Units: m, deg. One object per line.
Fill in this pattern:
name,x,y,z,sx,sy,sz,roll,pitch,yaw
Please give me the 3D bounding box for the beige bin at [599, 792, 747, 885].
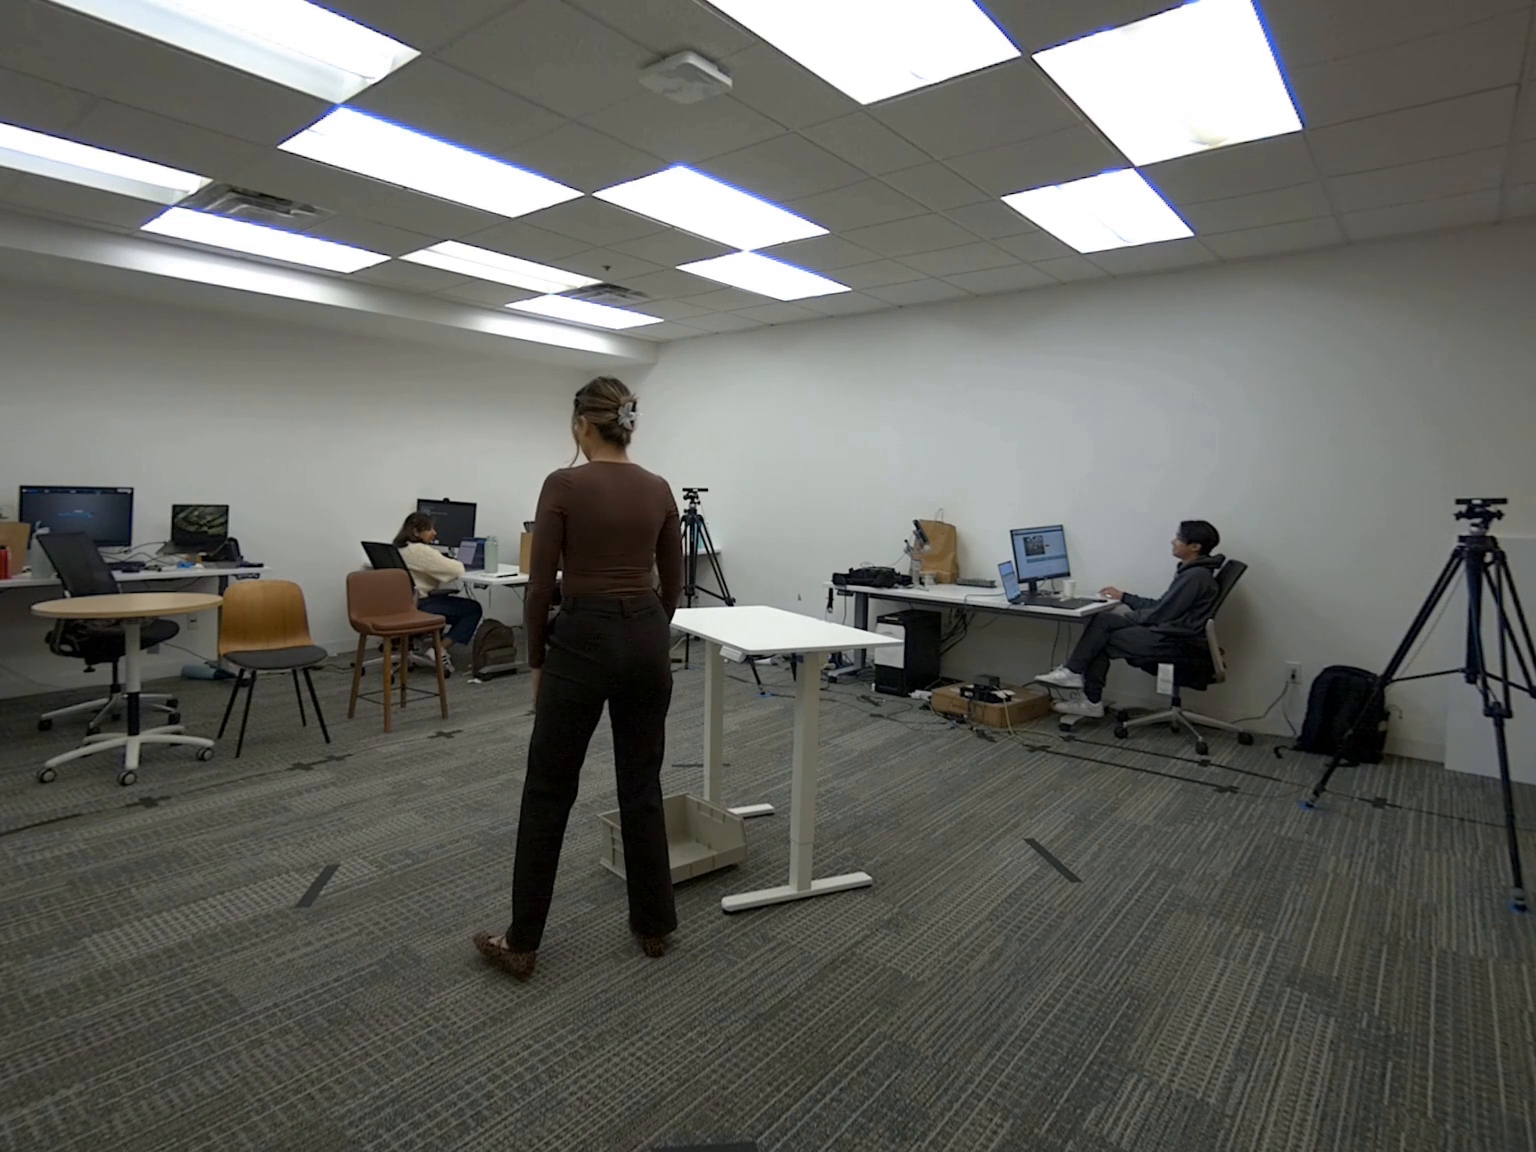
beige bin,-0.361,0.978,3.135,0.410,0.188,0.390,-4,6,-41
